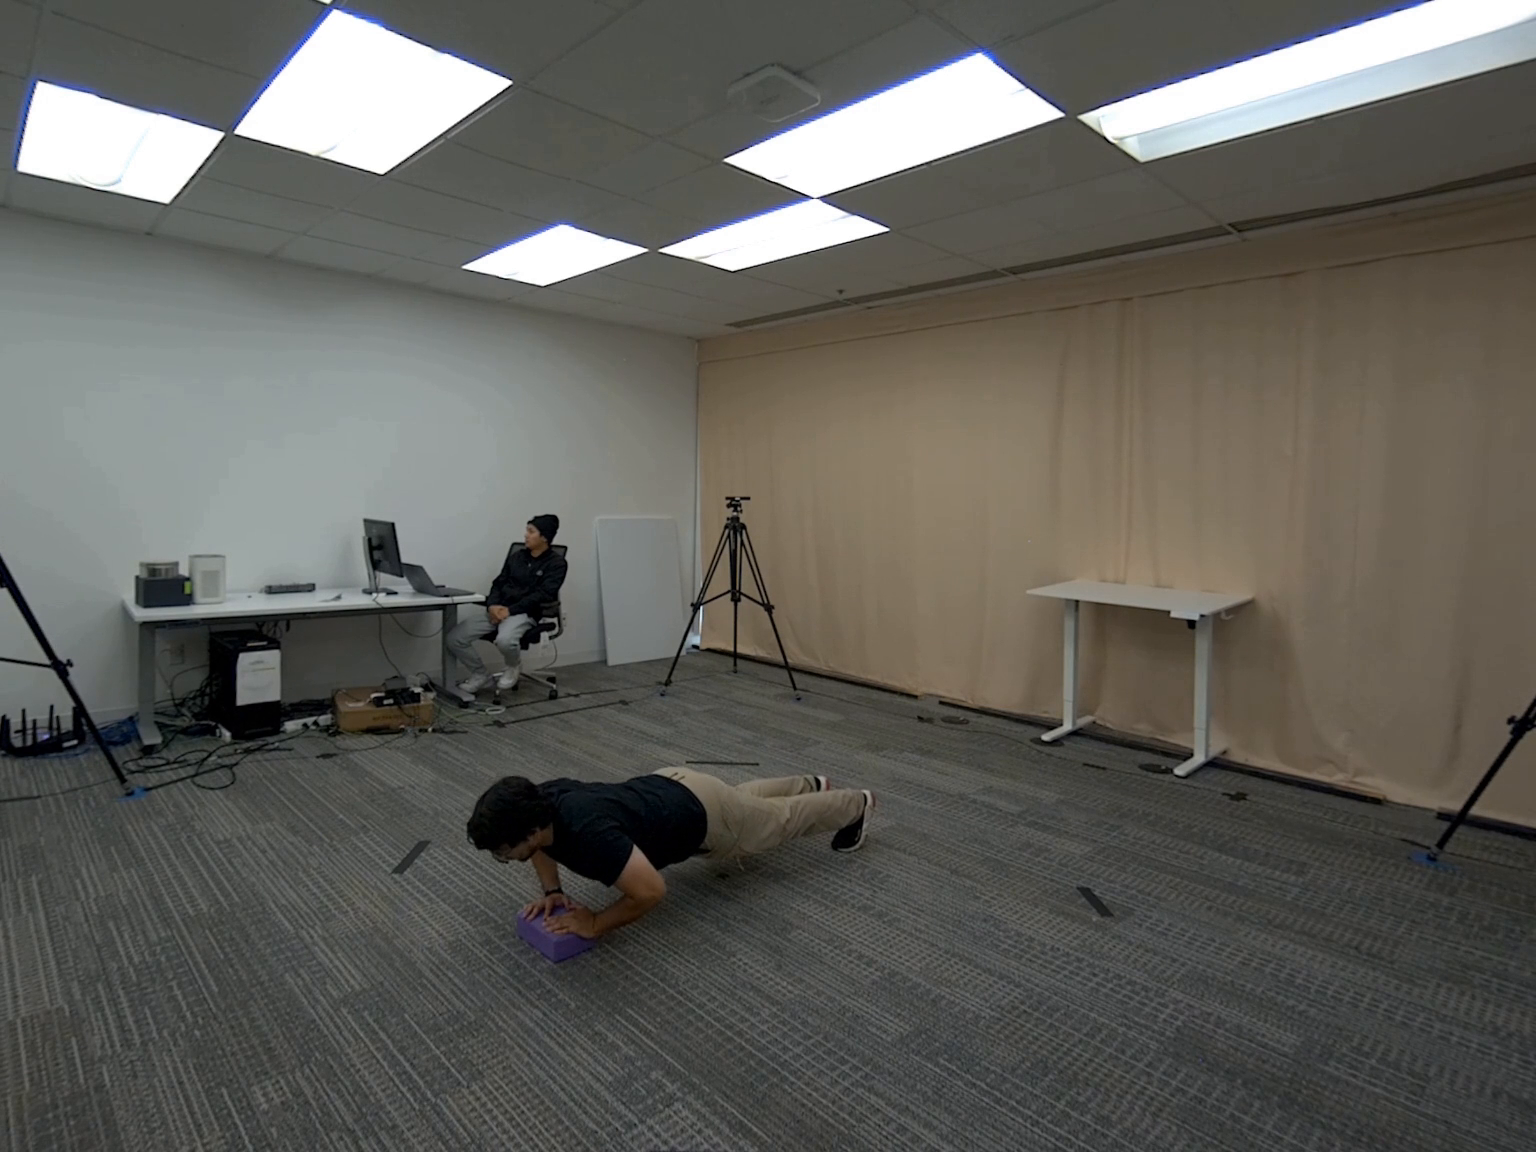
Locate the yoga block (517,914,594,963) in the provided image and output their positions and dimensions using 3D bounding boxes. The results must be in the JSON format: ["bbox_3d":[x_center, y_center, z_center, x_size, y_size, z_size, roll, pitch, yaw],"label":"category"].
[{"bbox_3d":[-0.676,1.107,2.617,0.235,0.076,0.145,6,7,44],"label":"yoga block"}]
